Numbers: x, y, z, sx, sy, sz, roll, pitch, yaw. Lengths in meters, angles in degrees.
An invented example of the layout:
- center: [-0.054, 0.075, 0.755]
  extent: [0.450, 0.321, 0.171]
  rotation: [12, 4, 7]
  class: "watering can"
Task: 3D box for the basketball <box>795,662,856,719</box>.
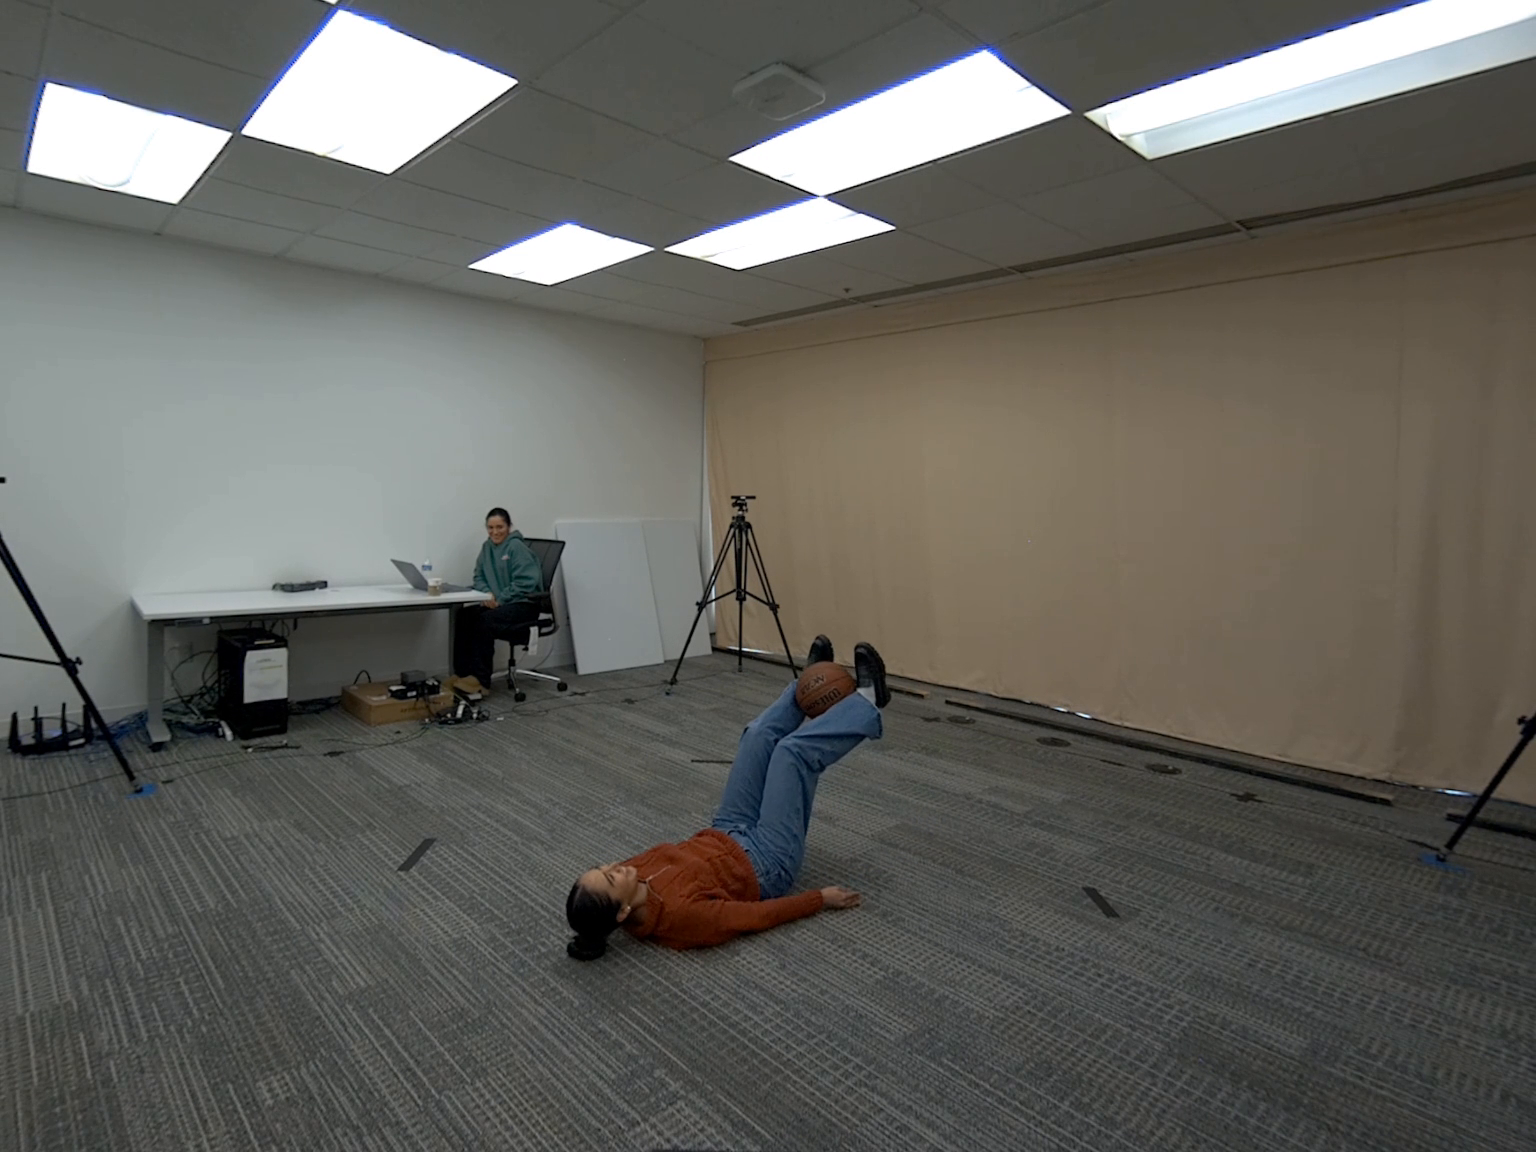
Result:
- center: [0.216, 0.452, 3.262]
  extent: [0.236, 0.235, 0.237]
  rotation: [1, 4, -1]
  class: "basketball"
